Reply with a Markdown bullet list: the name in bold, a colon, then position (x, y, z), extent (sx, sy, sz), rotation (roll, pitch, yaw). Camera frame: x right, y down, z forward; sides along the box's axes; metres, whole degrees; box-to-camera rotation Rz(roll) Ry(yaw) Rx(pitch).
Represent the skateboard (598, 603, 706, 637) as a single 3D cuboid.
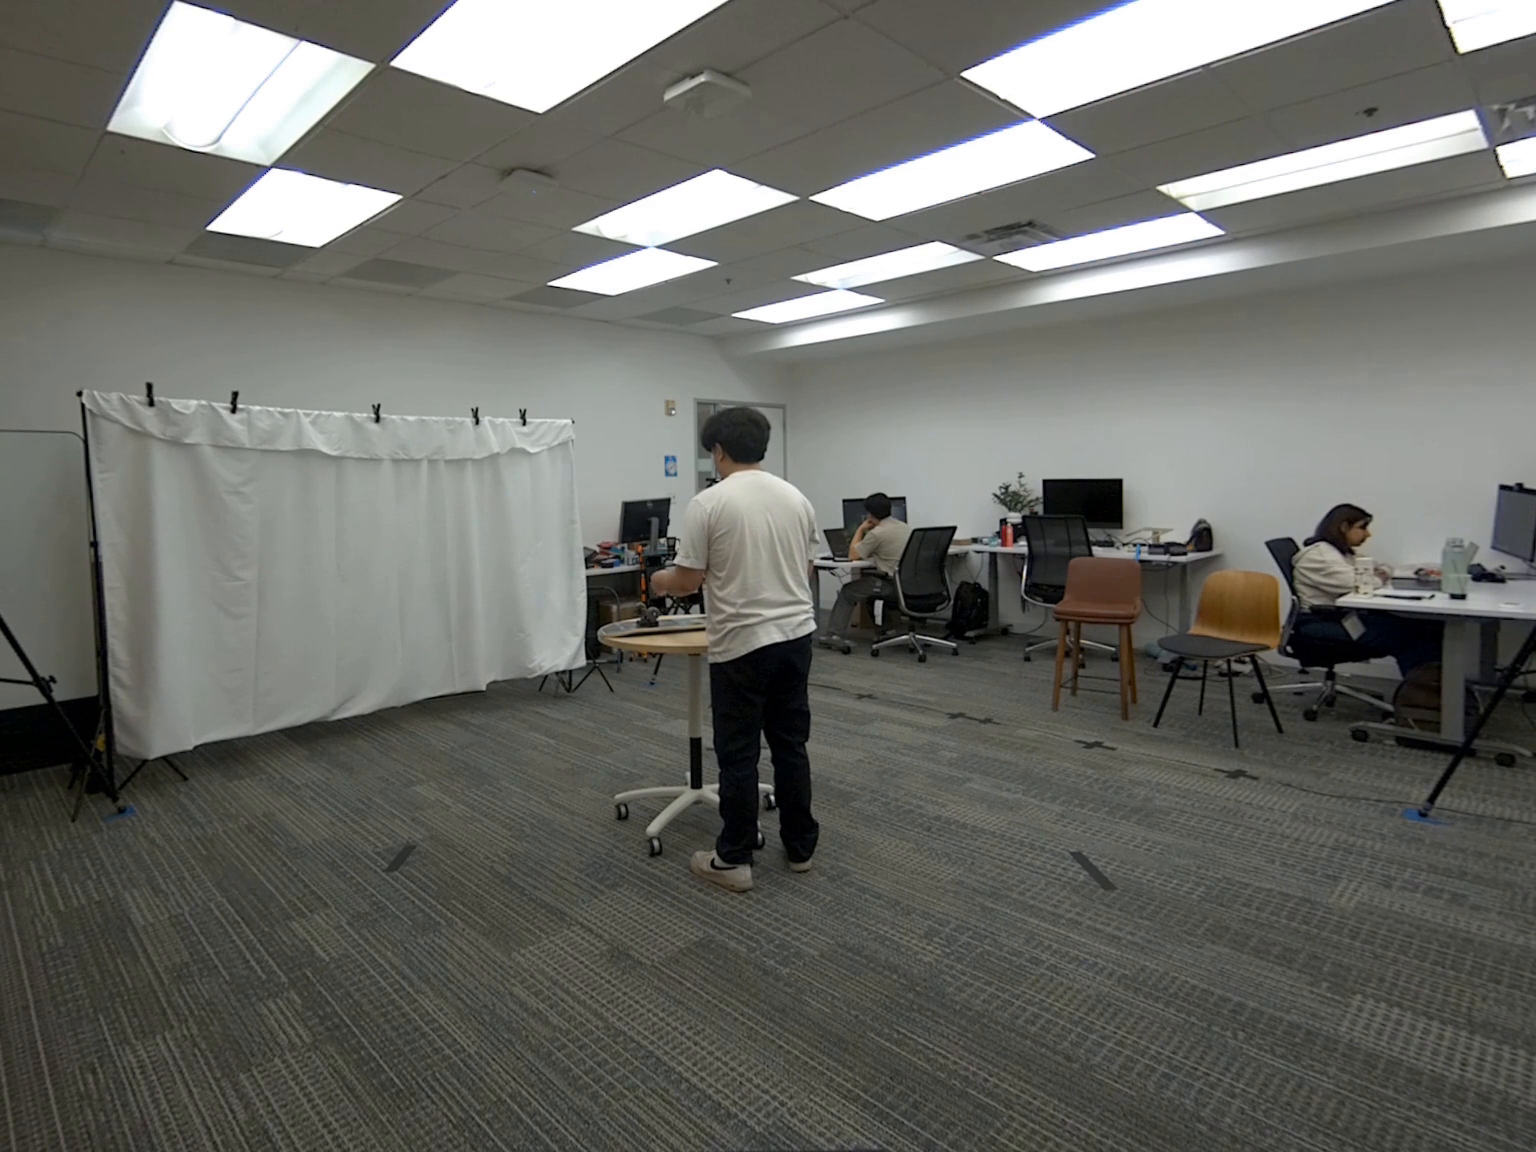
- **skateboard**: position (-0.304, 0.164, 3.469), extent (0.769, 0.110, 0.198), rotation (-4, 5, -25)
